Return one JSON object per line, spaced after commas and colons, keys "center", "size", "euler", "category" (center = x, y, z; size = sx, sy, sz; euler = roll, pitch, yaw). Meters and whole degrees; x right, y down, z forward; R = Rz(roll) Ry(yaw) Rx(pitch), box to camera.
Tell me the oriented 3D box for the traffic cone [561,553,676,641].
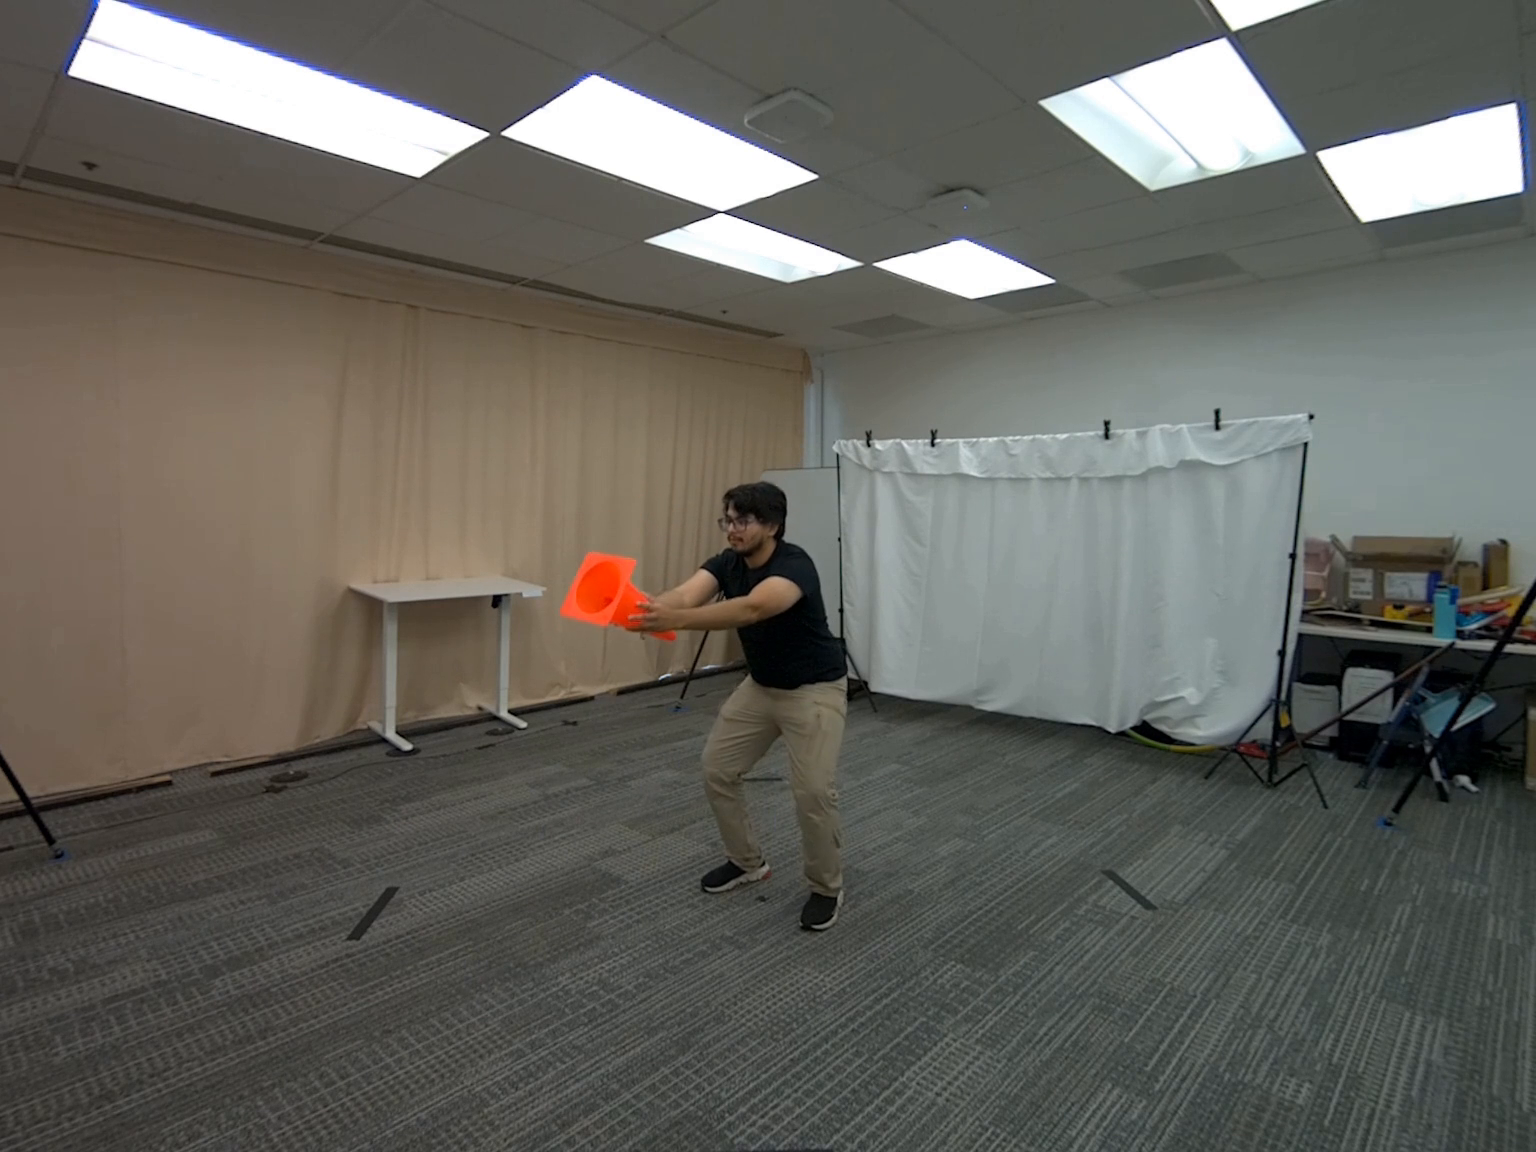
{"center": [-0.382, 0.116, 2.447], "size": [0.212, 0.204, 0.370], "euler": [8, -20, 37], "category": "traffic cone"}
